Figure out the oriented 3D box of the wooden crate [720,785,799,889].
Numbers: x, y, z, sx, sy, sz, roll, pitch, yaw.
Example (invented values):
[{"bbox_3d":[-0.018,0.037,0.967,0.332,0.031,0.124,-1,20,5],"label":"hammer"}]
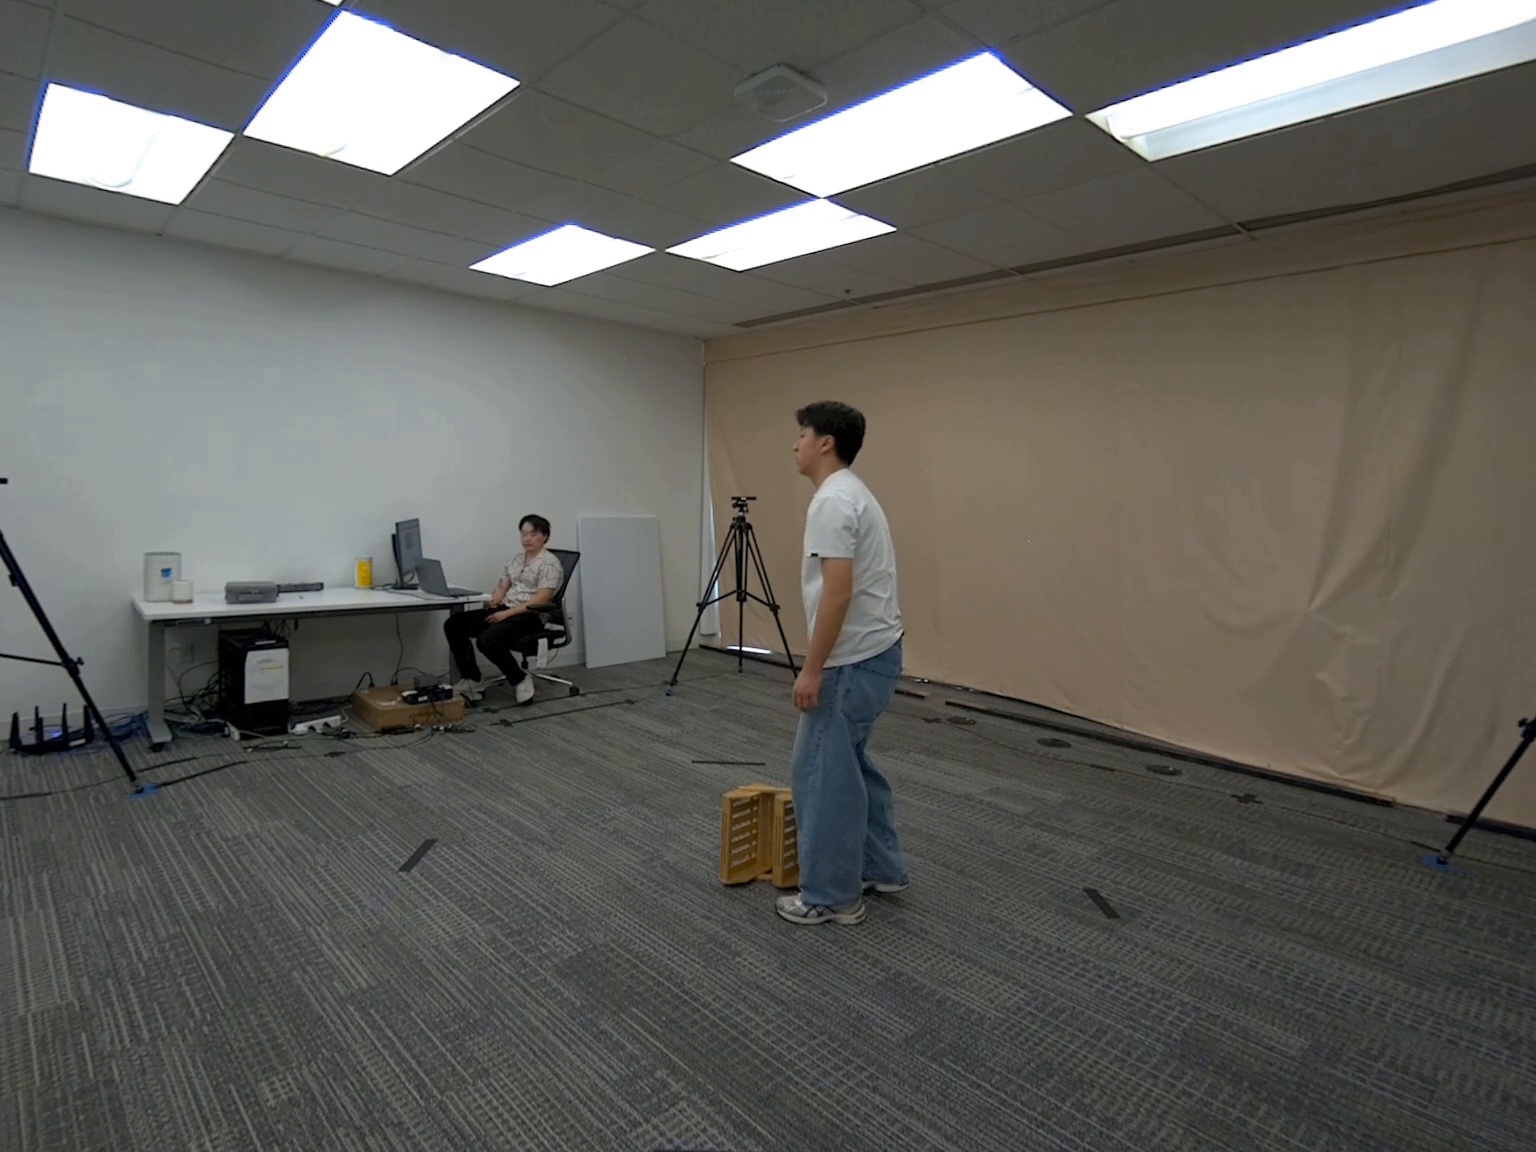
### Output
[{"bbox_3d":[0.008,0.943,3.062,0.279,0.325,0.295,0,-2,34],"label":"wooden crate"}]
